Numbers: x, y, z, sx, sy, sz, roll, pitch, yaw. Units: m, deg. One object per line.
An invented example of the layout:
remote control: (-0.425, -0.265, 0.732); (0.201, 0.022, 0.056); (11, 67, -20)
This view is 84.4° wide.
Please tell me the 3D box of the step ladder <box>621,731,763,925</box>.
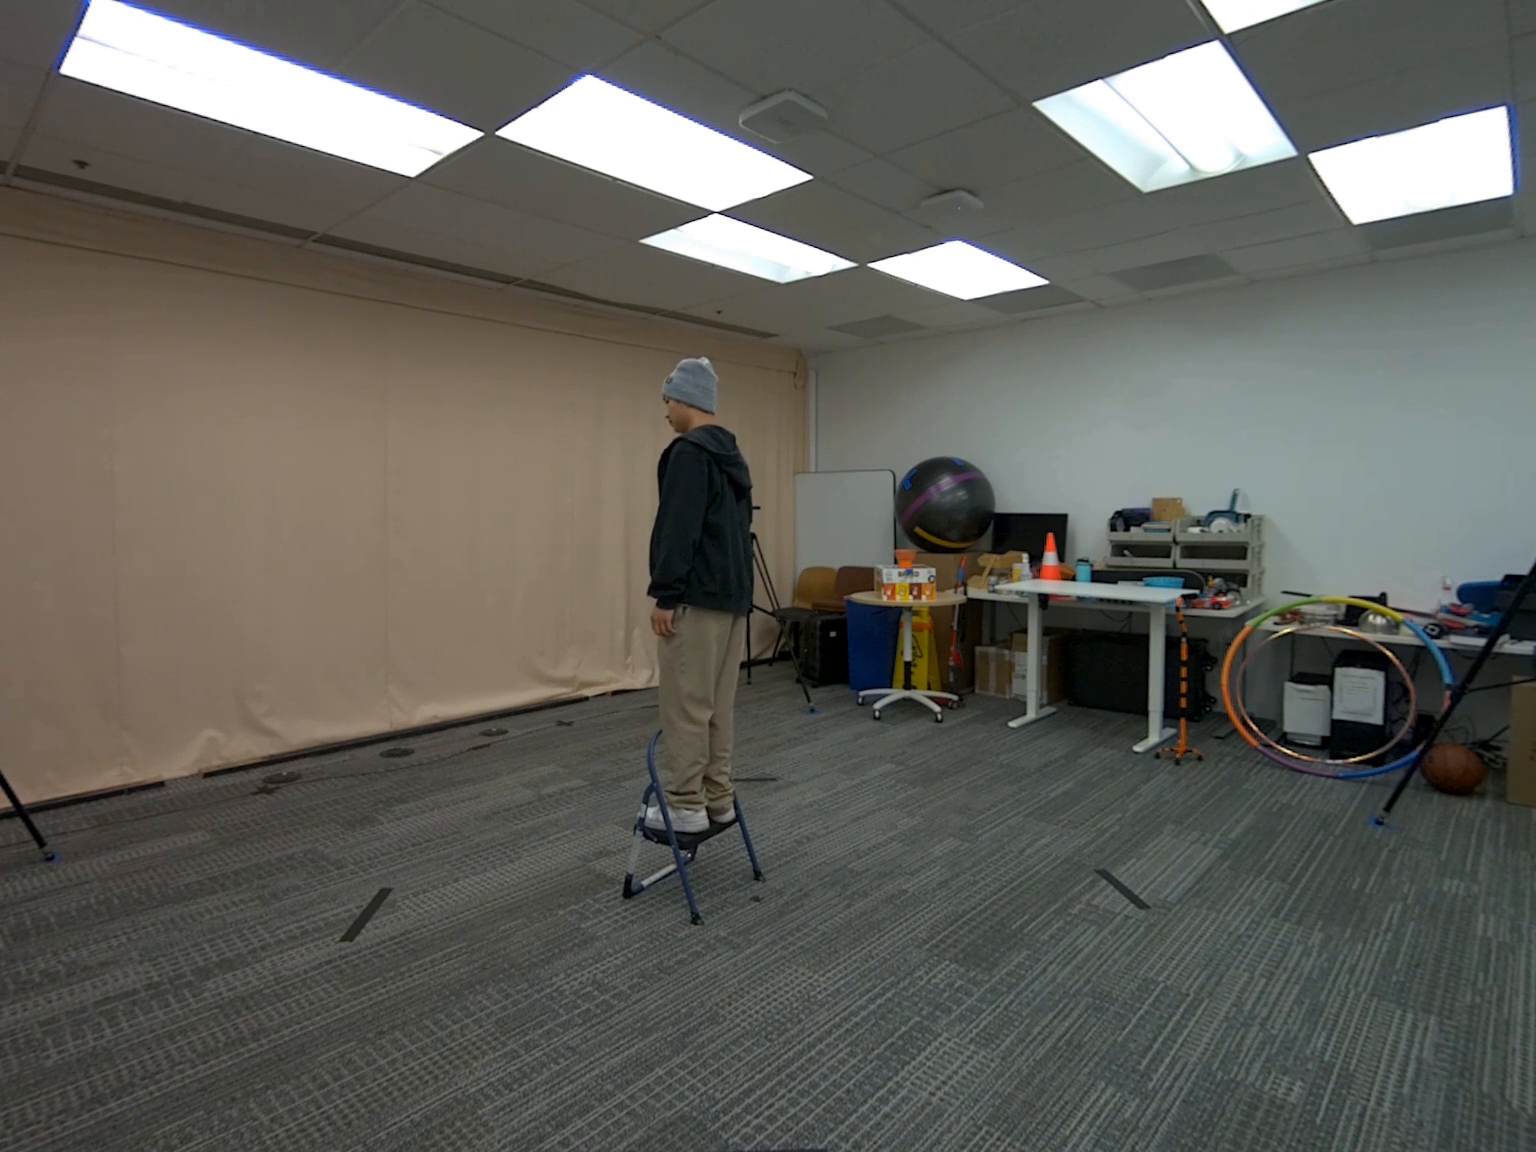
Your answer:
step ladder: (-0.270, 0.839, 3.054); (0.360, 0.605, 0.419); (1, 3, 32)
